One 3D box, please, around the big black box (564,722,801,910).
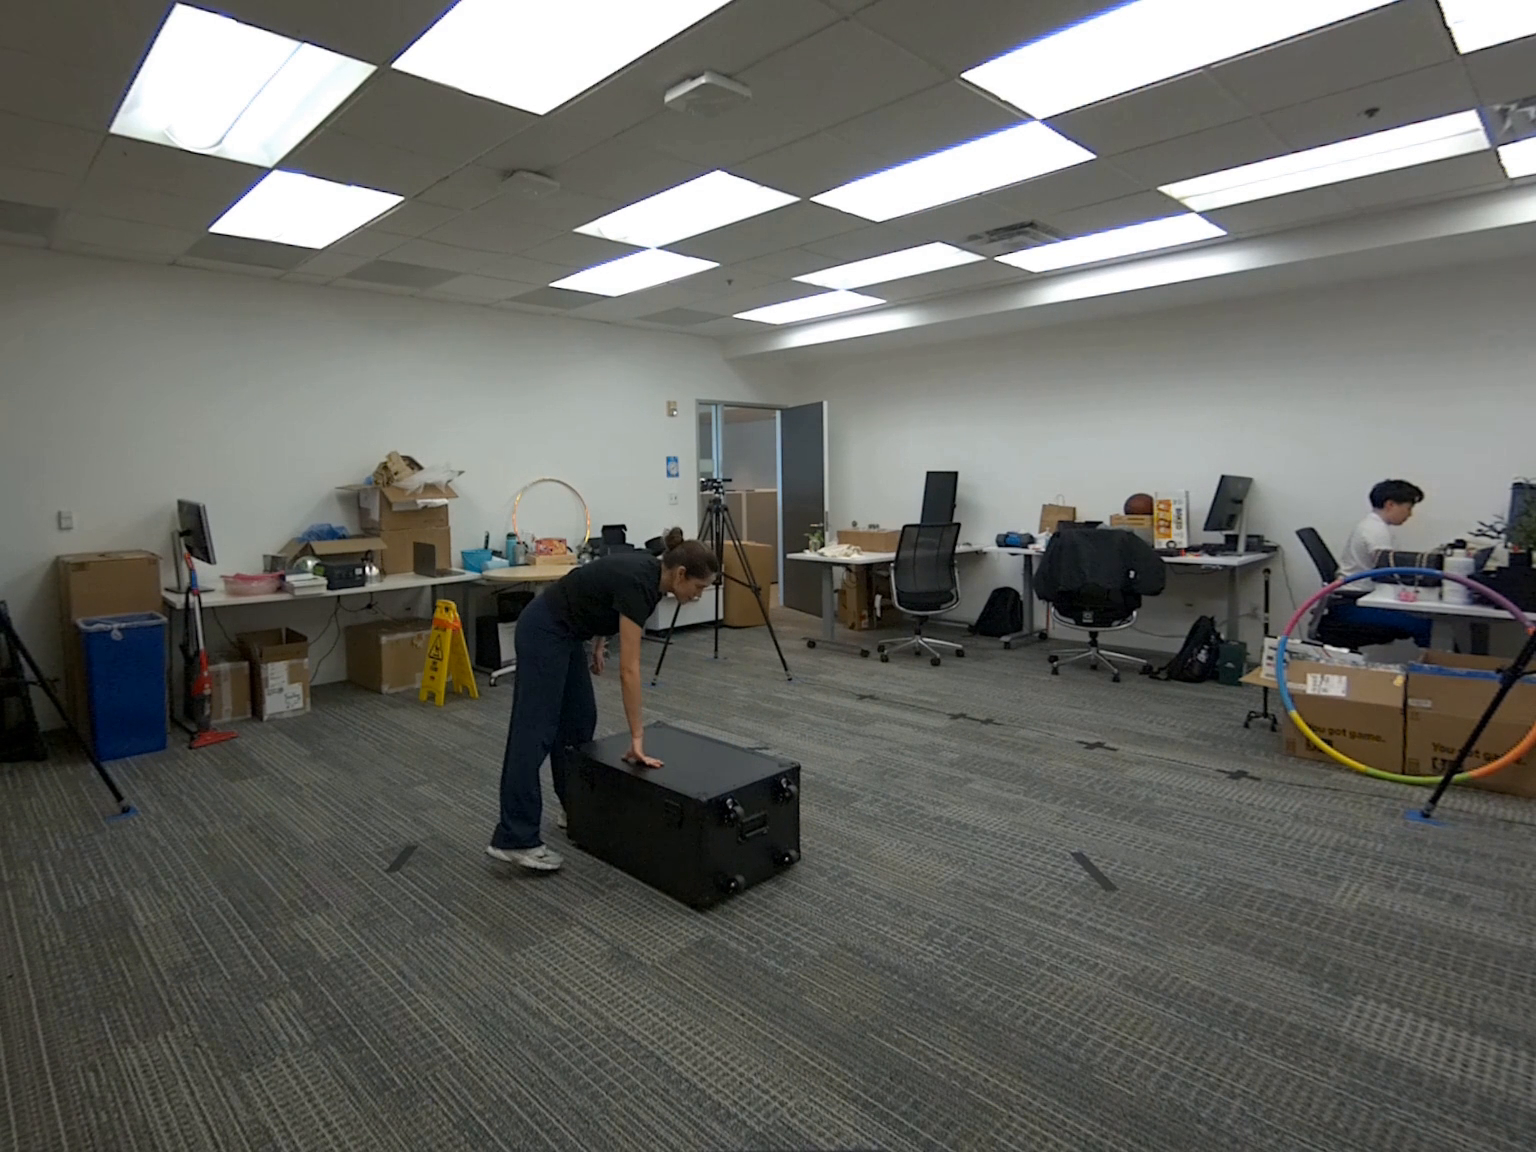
[{"bbox_3d":[-0.303,0.837,3.162,0.888,0.394,0.507,5,8,44],"label":"big black box"}]
